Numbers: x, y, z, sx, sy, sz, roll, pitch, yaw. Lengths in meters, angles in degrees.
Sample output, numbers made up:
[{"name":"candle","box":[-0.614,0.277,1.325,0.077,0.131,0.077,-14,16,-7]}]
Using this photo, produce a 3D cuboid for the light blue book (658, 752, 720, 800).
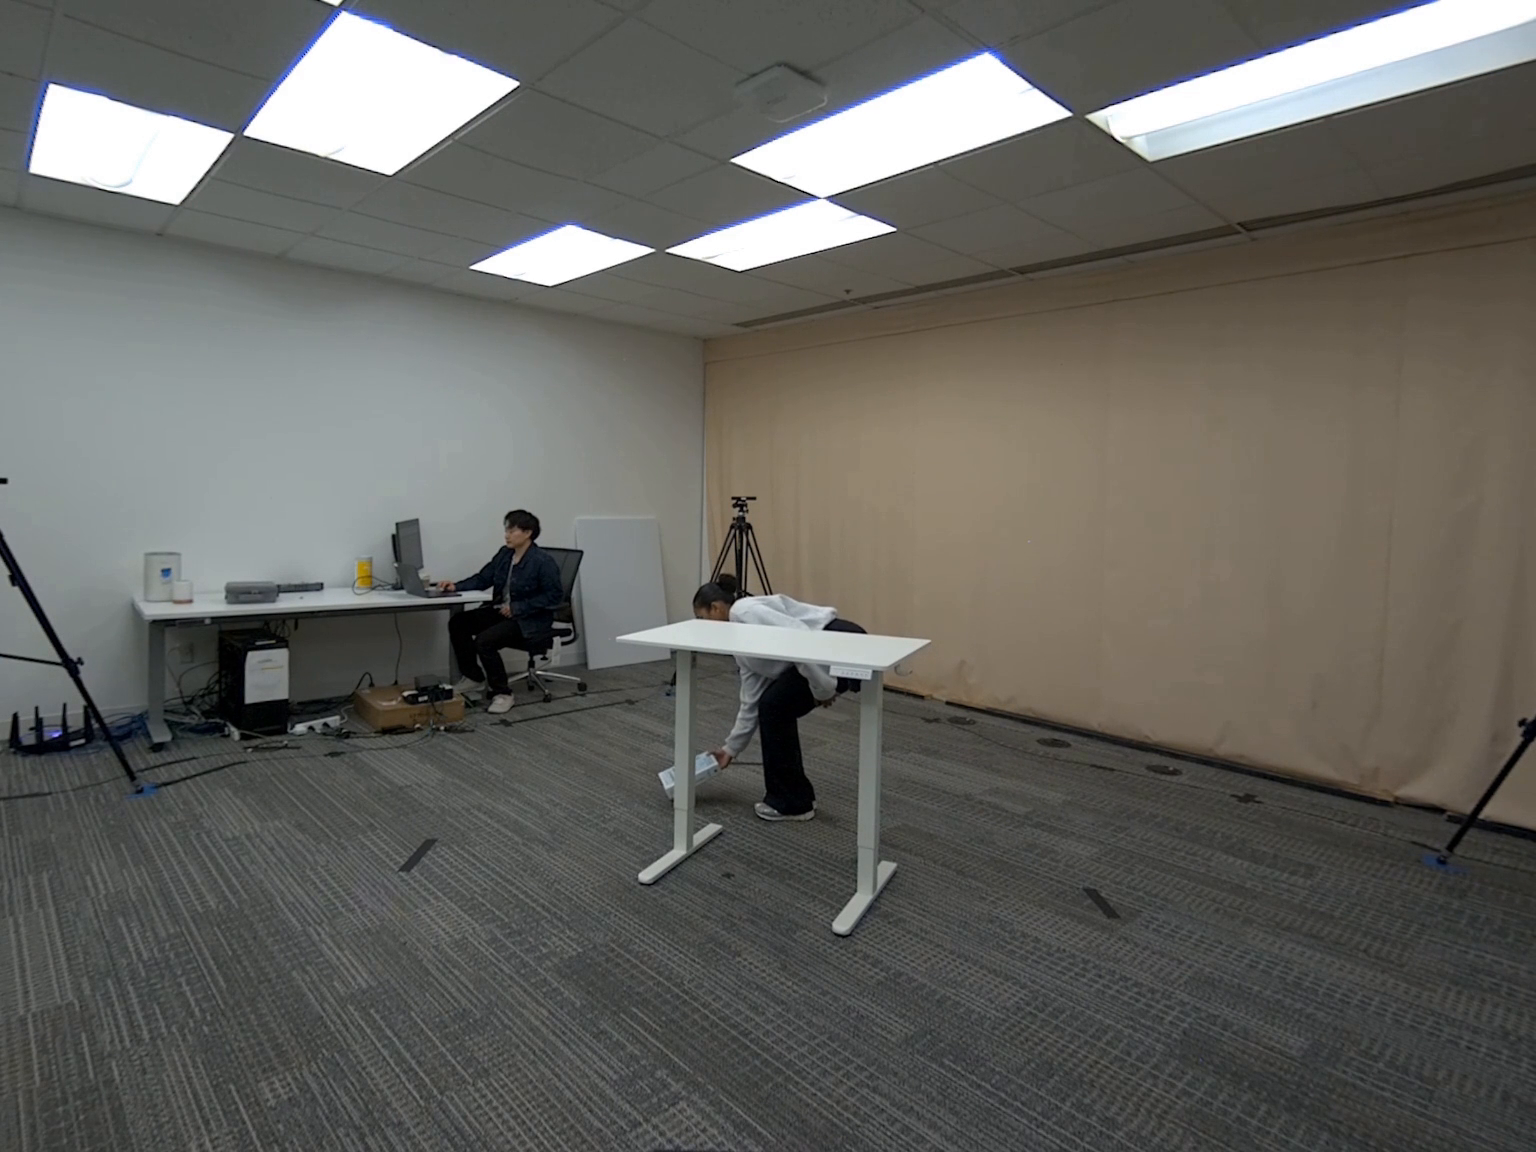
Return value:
[{"name":"light blue book","box":[-0.362,0.906,3.863,0.260,0.058,0.194,-22,10,-11]}]
